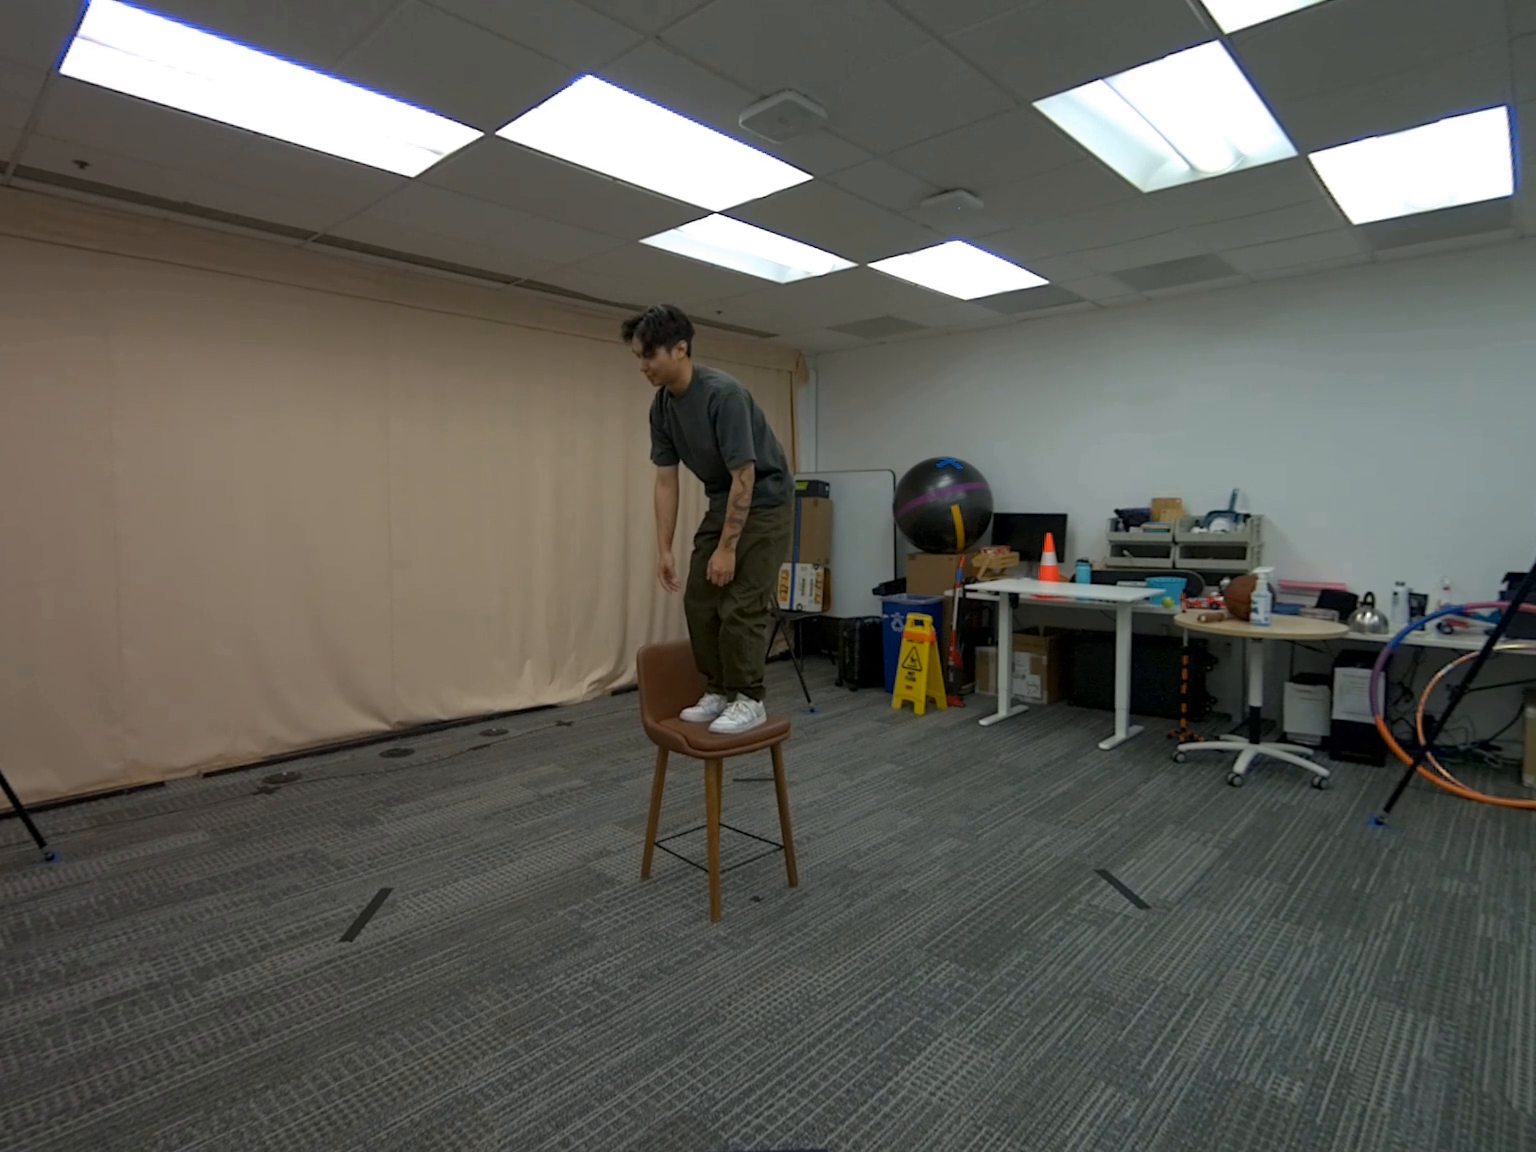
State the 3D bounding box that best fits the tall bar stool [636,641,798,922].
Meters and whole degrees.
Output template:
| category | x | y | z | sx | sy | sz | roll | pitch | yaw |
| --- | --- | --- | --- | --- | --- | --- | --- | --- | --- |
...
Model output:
| category | x | y | z | sx | sy | sz | roll | pitch | yaw |
| --- | --- | --- | --- | --- | --- | --- | --- | --- | --- |
| tall bar stool | -0.195 | 0.699 | 3.096 | 0.442 | 0.888 | 0.483 | -3 | 3 | -43 |
